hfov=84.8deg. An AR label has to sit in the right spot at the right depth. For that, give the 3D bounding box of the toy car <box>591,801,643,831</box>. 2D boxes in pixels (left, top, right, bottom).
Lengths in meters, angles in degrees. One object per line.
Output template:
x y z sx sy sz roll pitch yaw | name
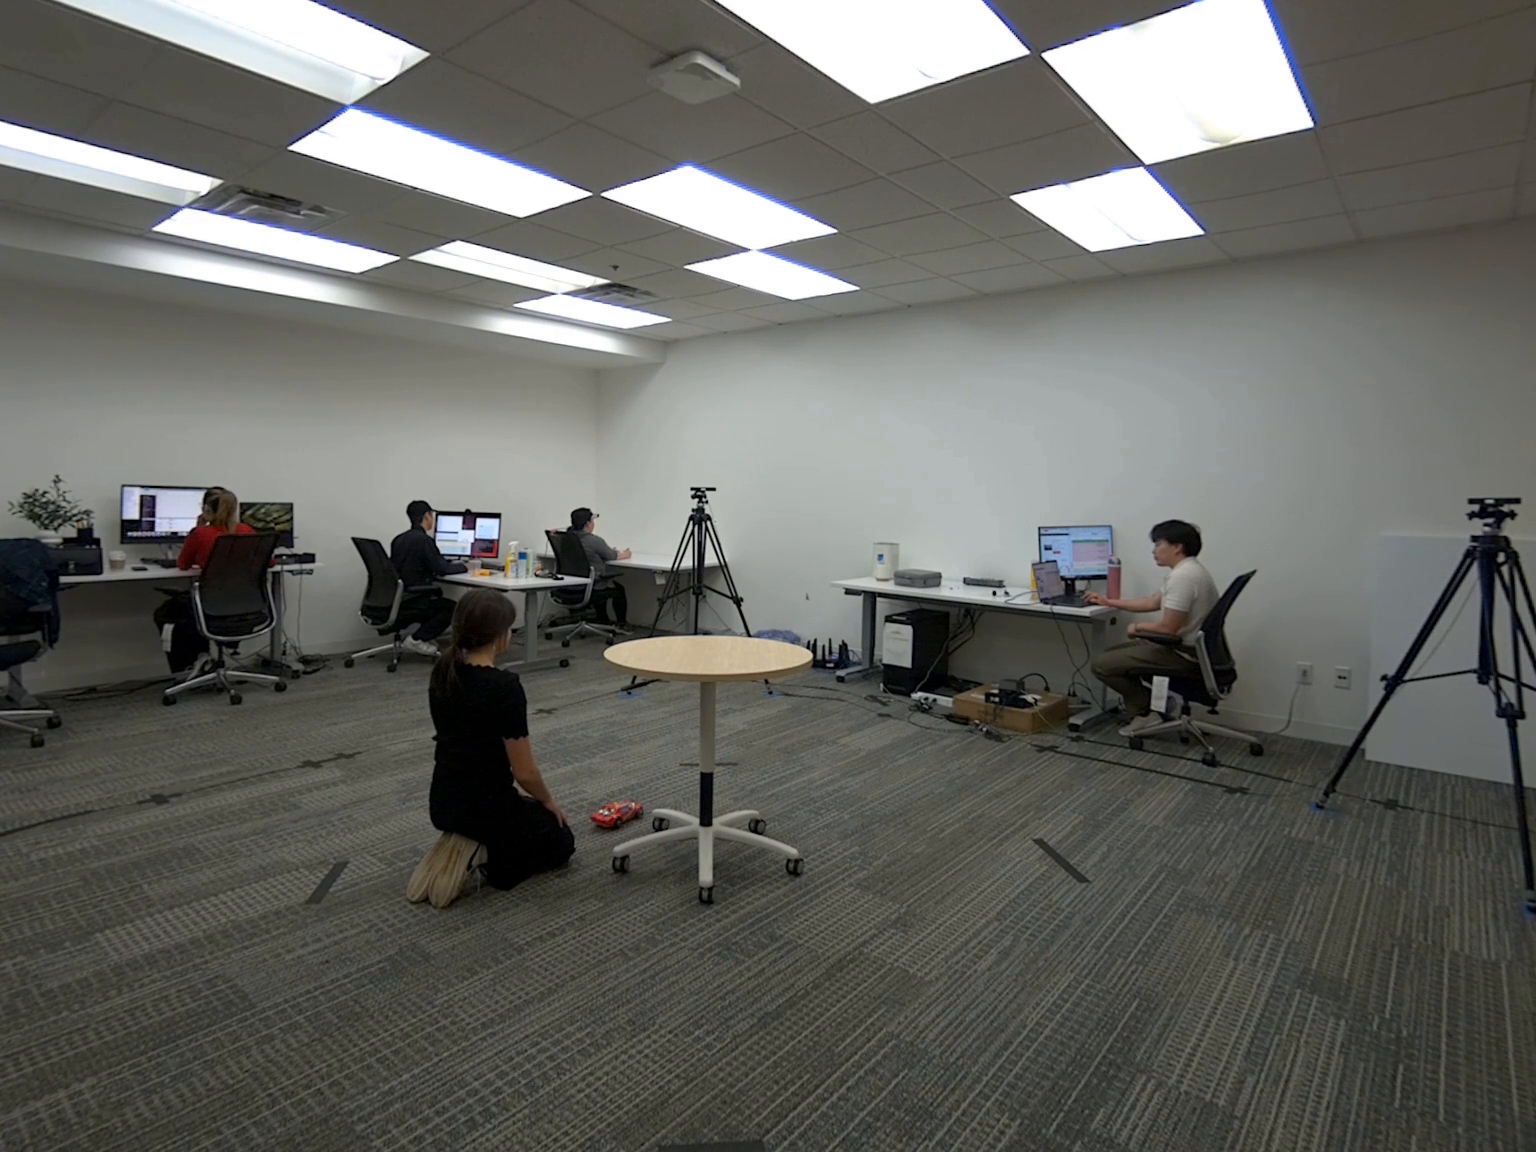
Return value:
-0.647 0.989 3.524 0.134 0.083 0.246 5 -5 32 | toy car
